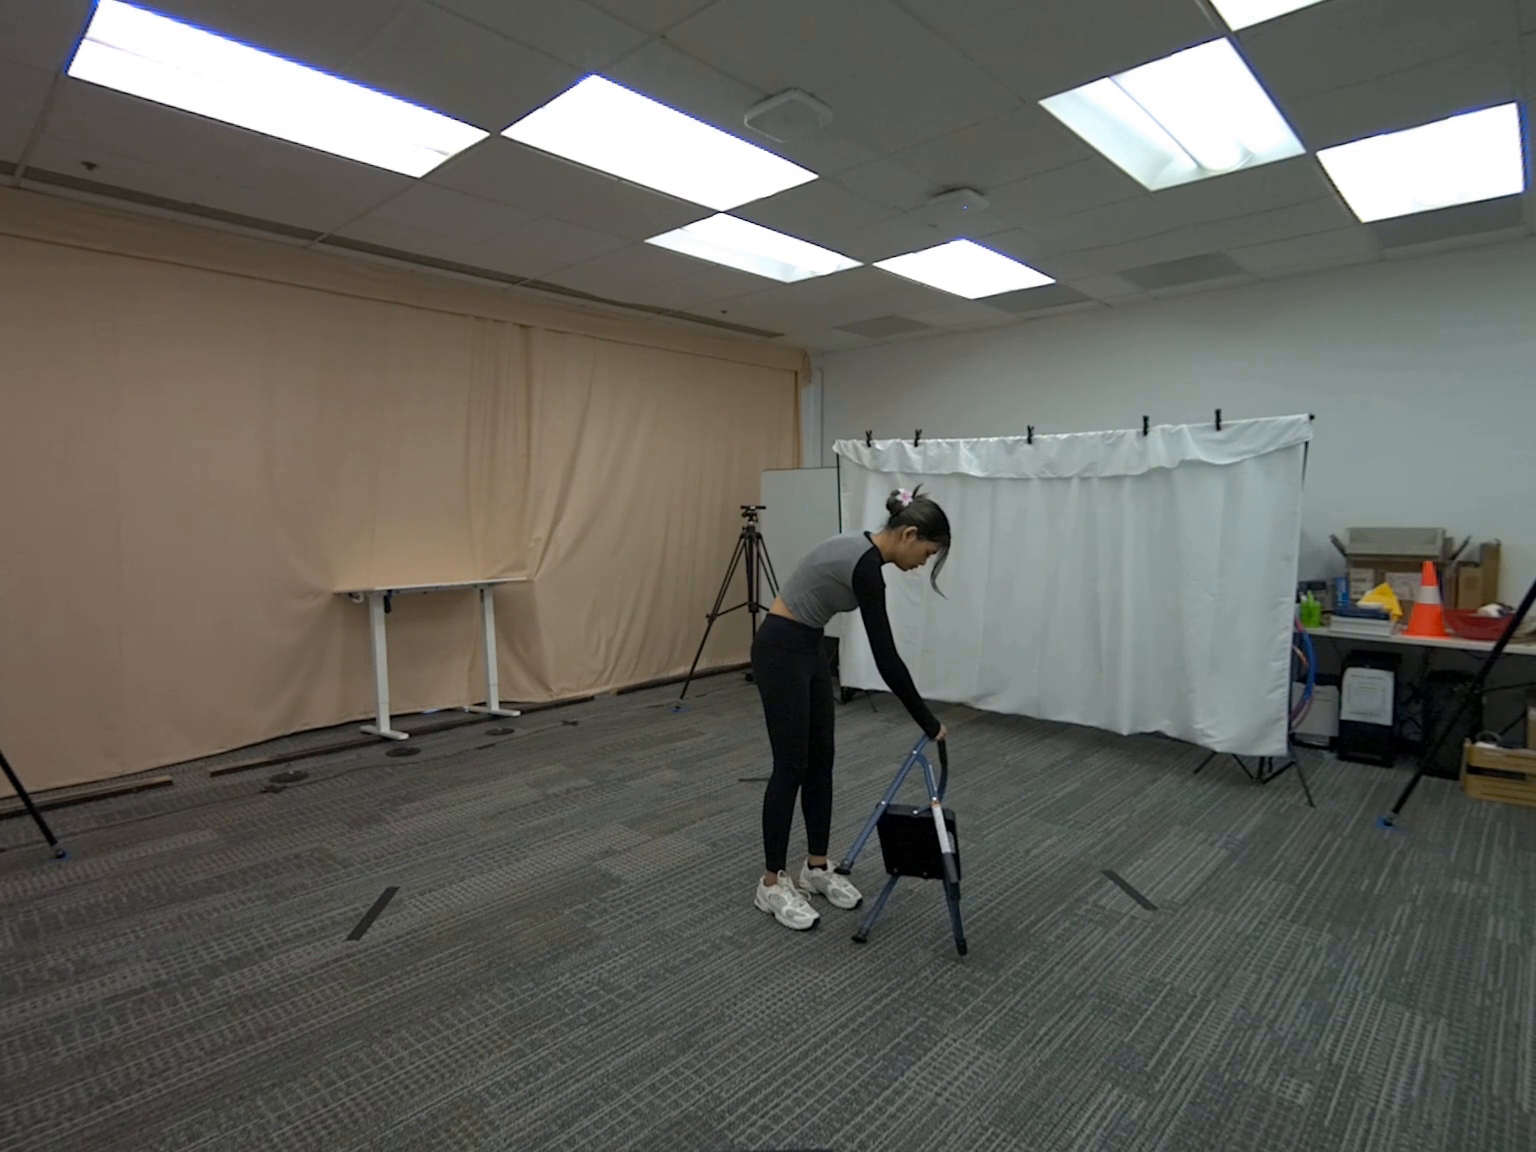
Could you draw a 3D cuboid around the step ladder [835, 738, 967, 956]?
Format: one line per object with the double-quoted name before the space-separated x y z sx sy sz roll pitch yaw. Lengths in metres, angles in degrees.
"step ladder" 0.478 0.809 2.713 0.356 0.419 0.609 0 41 18
